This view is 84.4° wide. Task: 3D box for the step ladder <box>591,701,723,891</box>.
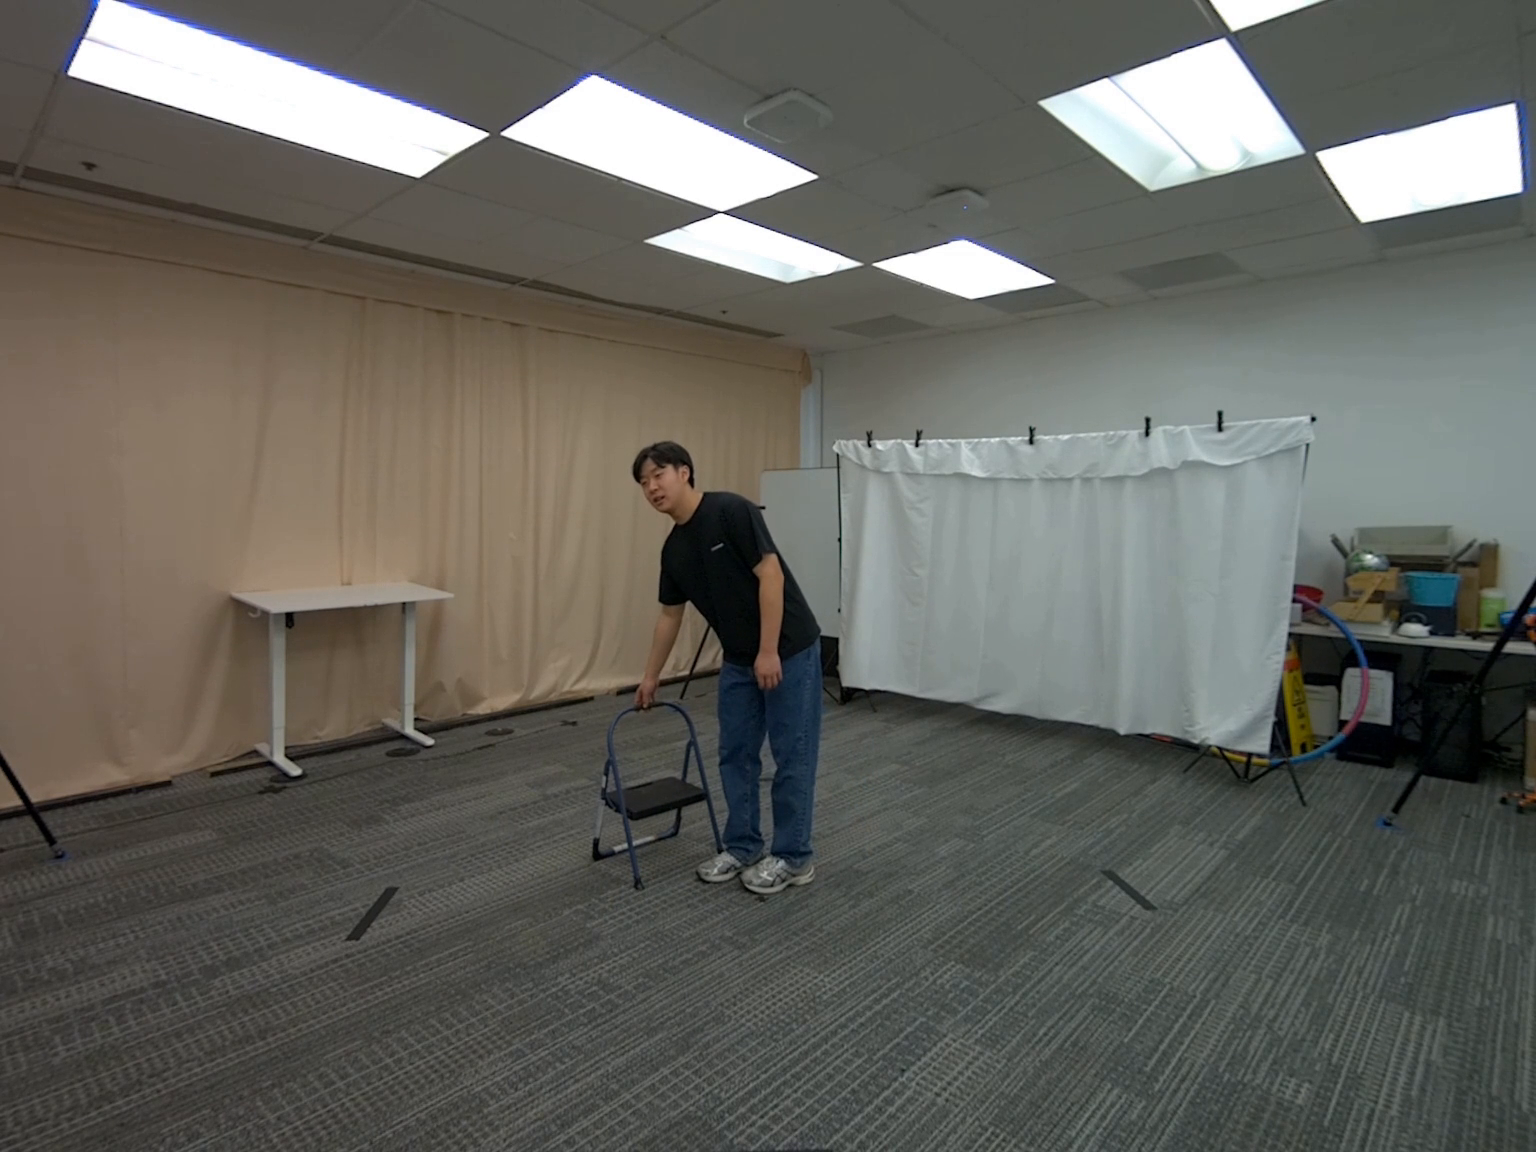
[{"bbox_3d":[-0.433,0.818,3.312,0.417,0.605,0.361,-3,5,-41],"label":"step ladder"}]
